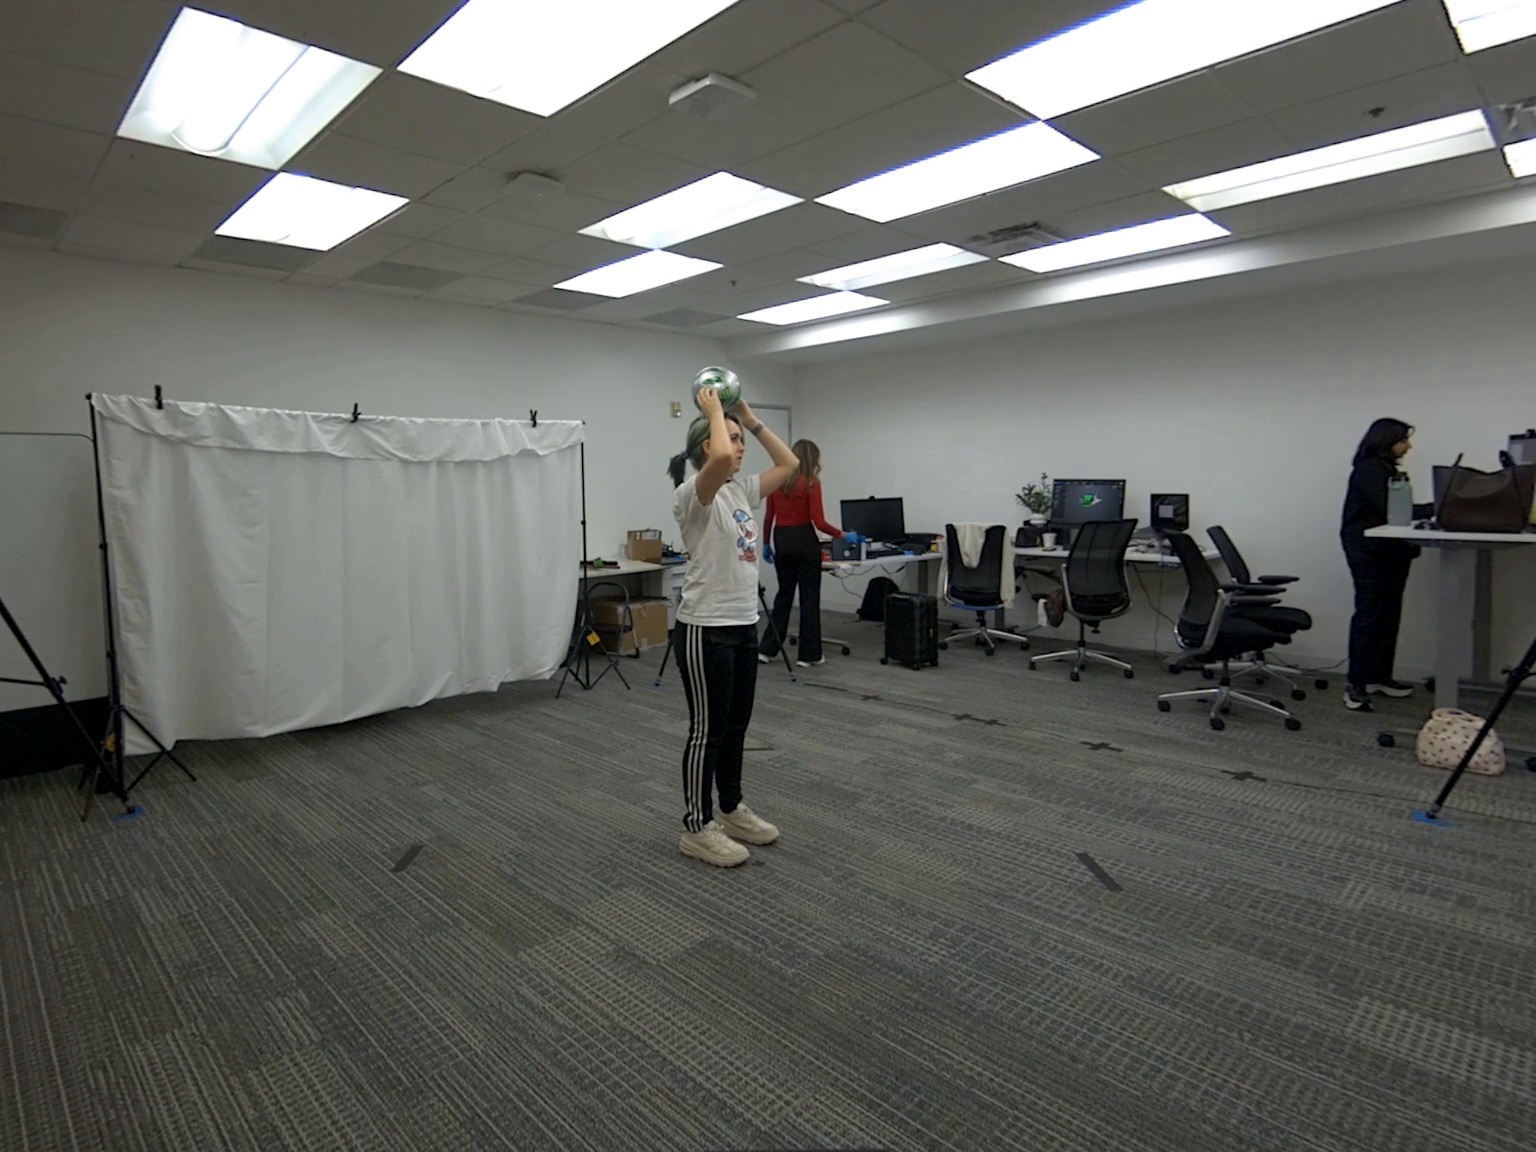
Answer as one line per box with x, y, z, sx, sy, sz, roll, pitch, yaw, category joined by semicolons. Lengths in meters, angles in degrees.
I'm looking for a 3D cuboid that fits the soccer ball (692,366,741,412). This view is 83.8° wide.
-0.192;-0.688;3.188;0.187;0.187;0.188;-1;5;-2;soccer ball
